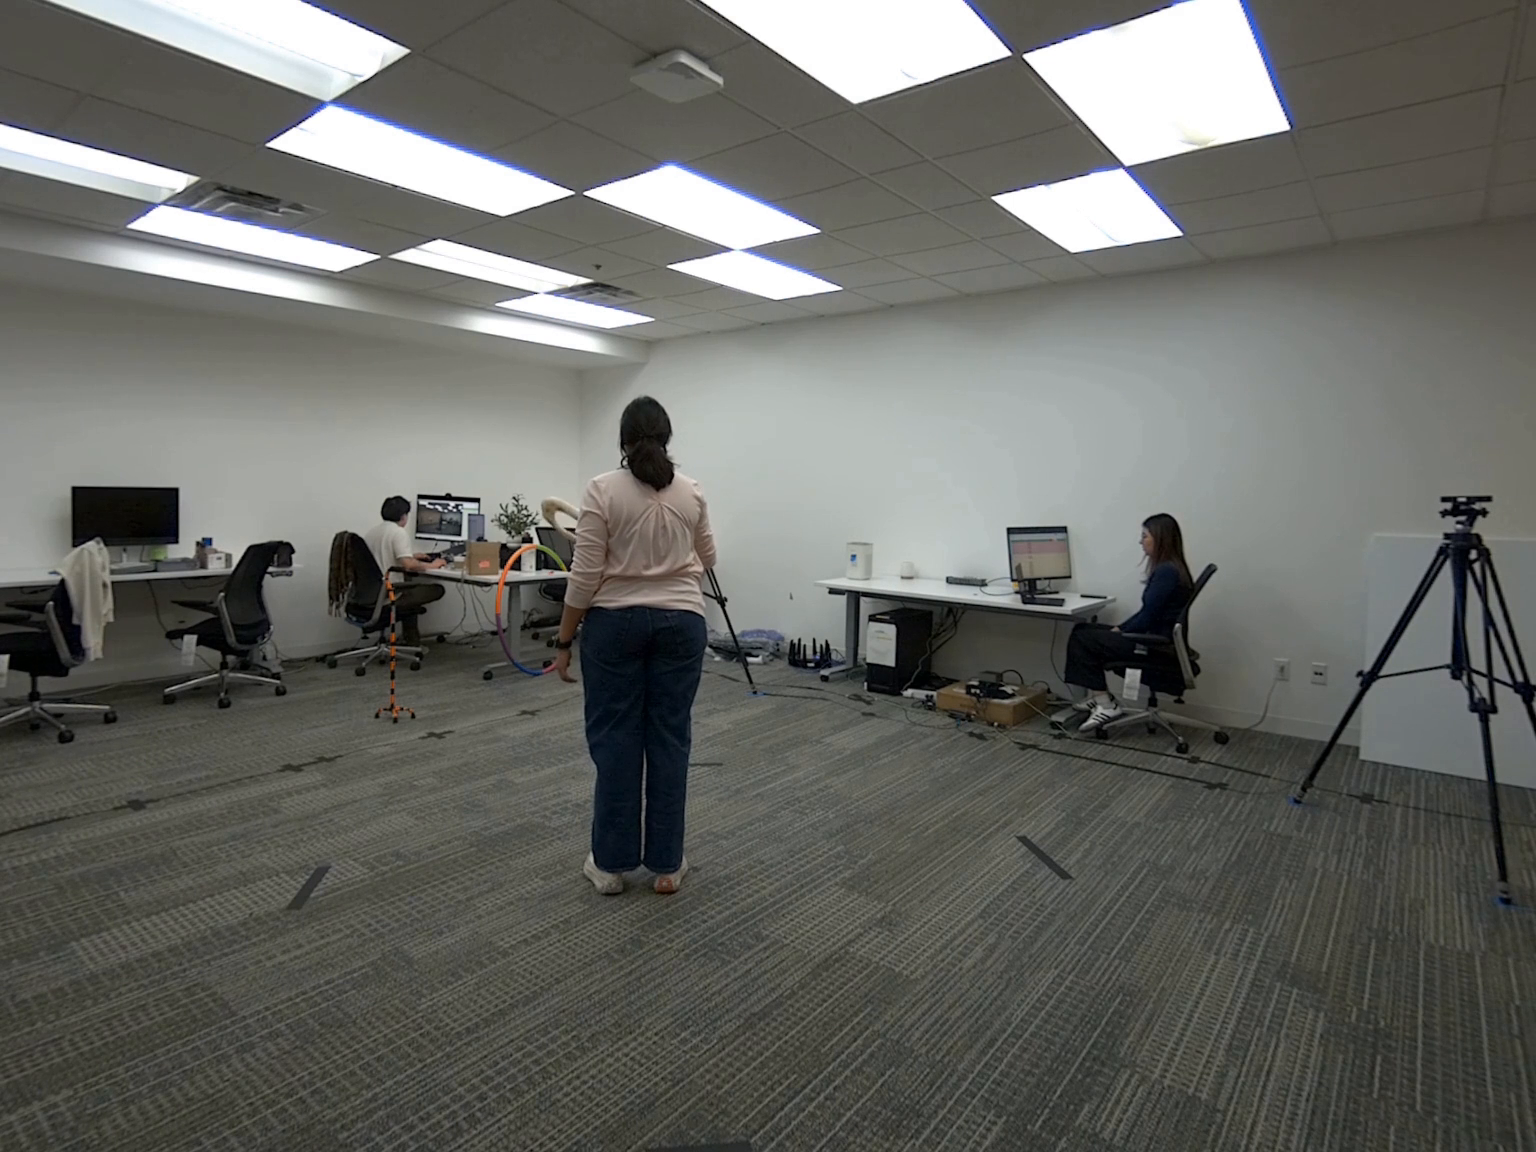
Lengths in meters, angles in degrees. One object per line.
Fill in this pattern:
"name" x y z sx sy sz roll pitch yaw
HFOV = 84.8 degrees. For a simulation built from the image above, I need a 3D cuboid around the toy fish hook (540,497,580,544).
"toy fish hook" -0.710 -0.180 3.433 0.513 0.048 0.220 29 -31 9
